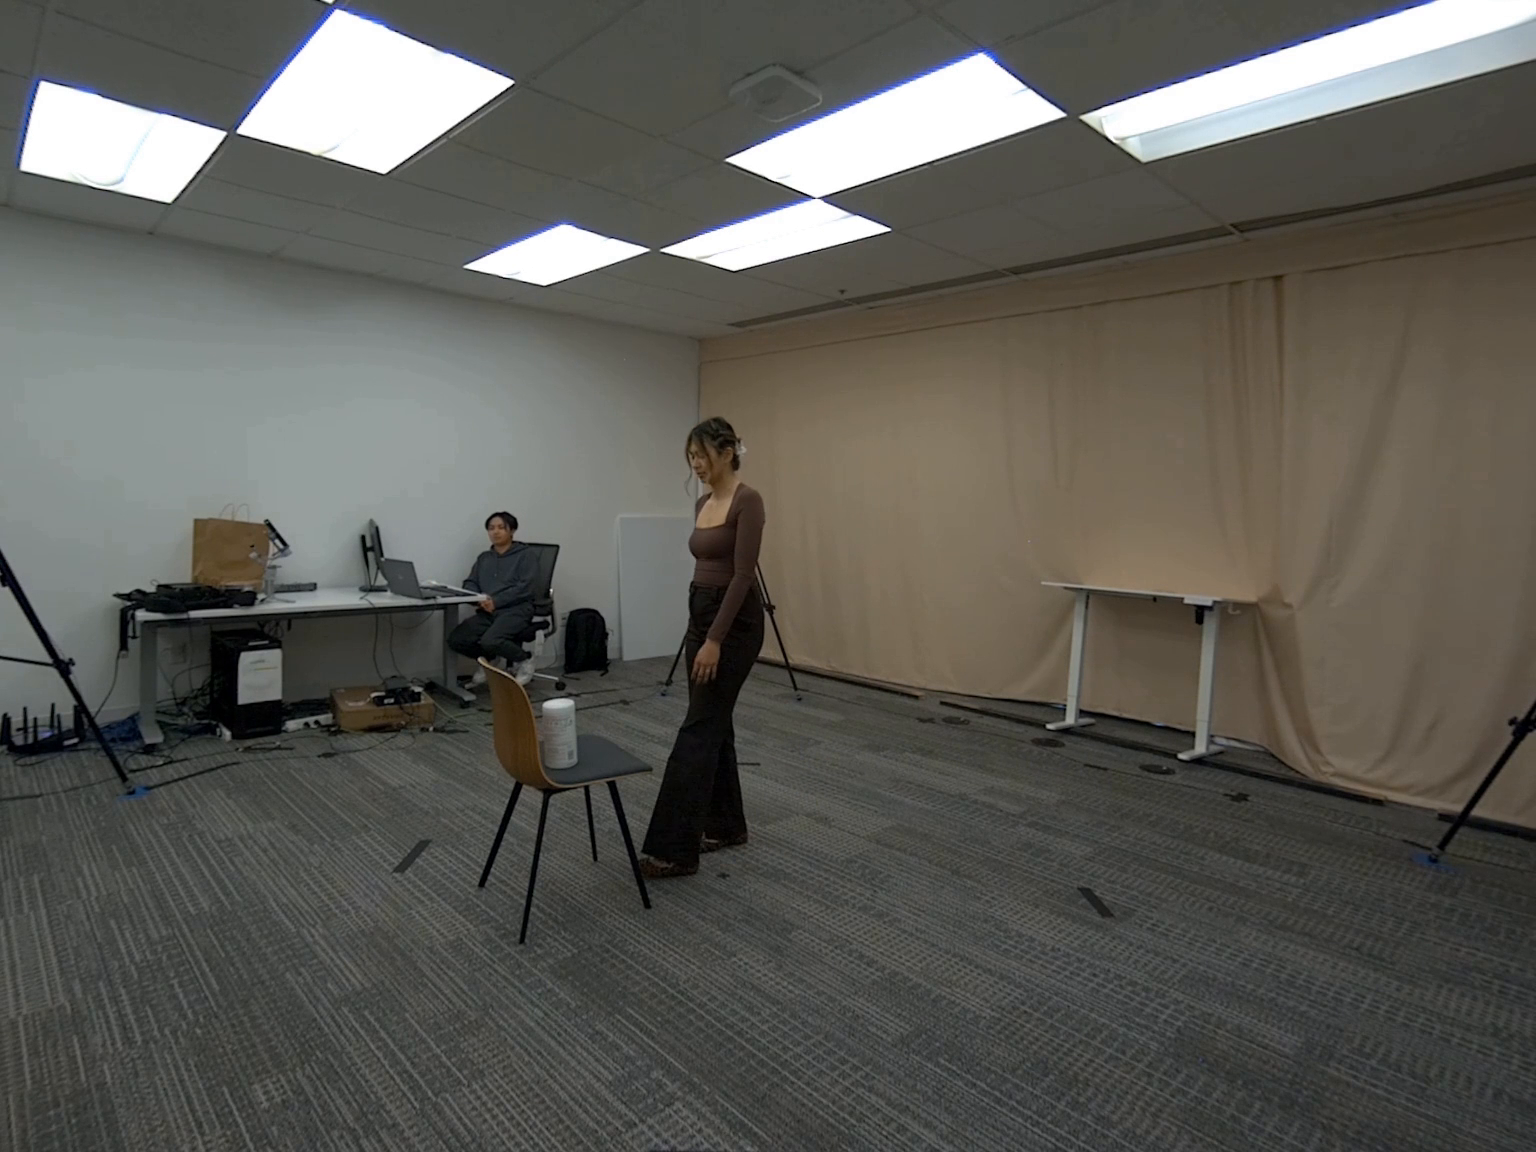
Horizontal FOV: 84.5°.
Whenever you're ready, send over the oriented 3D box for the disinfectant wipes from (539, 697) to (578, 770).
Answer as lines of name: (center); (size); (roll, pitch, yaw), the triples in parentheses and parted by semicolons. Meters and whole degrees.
disinfectant wipes: (-0.720, 0.544, 2.849); (0.118, 0.216, 0.118); (-2, 6, -1)
